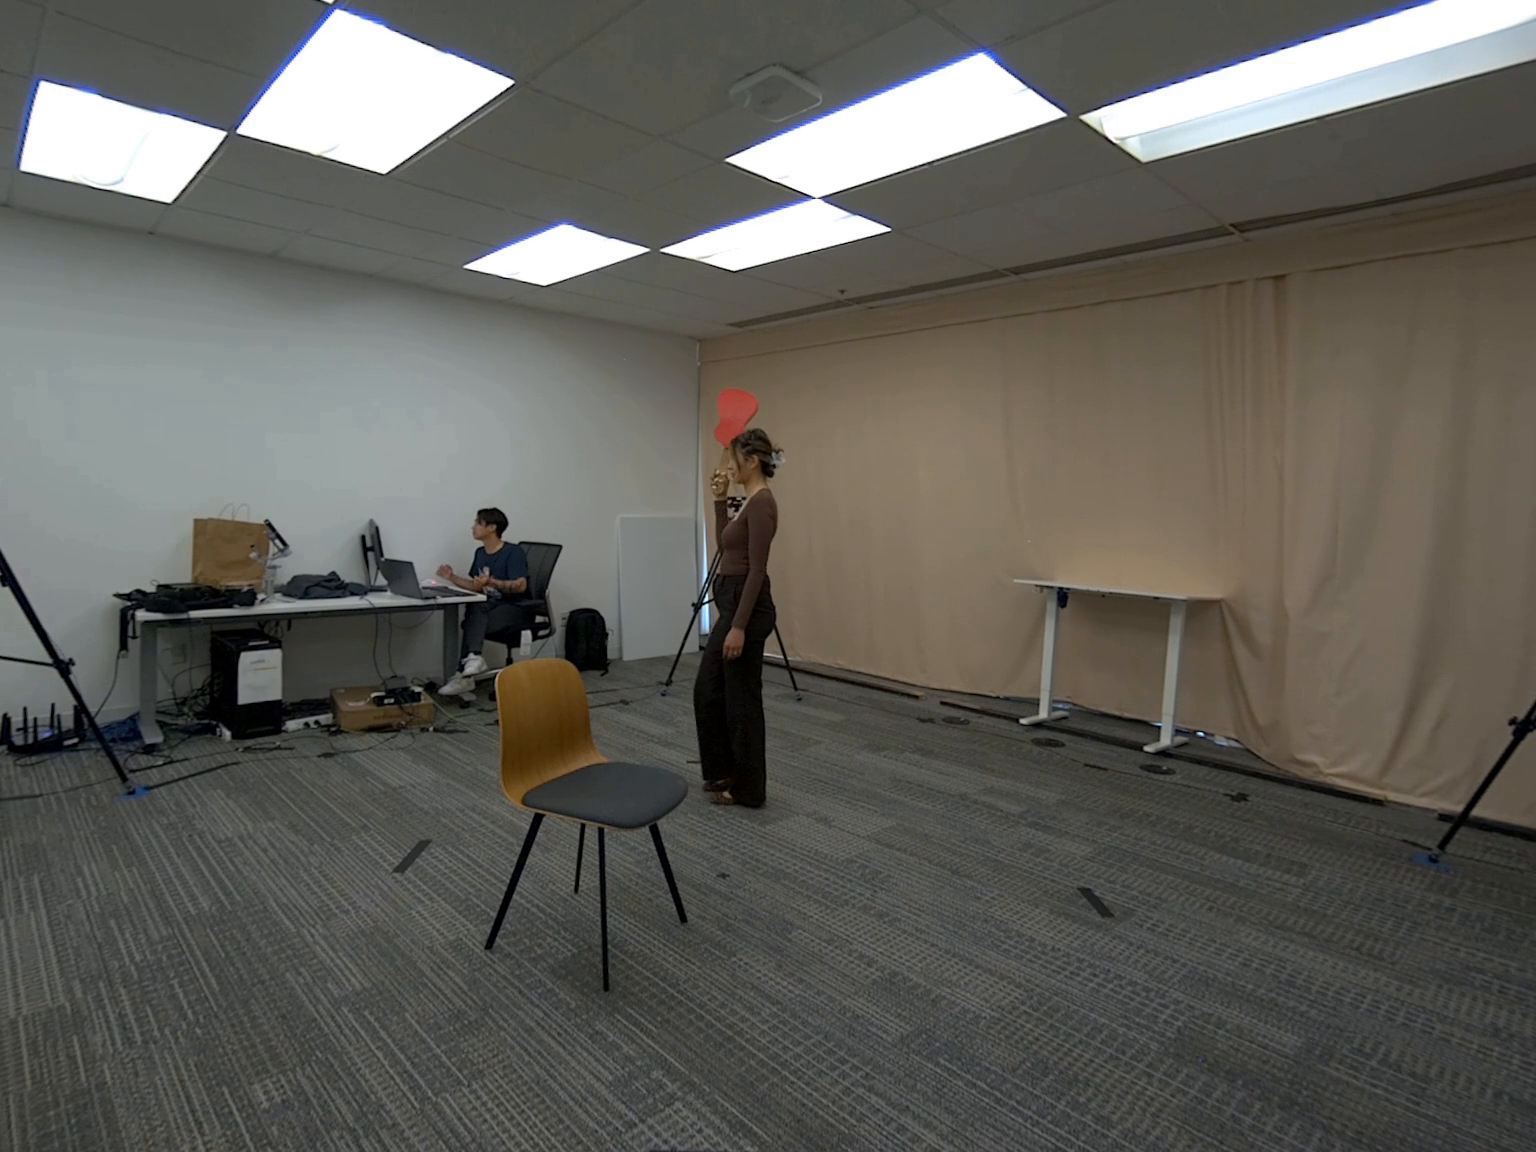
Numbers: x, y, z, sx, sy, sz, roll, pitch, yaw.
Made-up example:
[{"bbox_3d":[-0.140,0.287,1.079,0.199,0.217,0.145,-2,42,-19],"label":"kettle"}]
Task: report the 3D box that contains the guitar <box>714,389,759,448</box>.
[{"bbox_3d":[-0.170,-0.638,4.020,0.195,0.498,0.070,4,-1,10],"label":"guitar"}]
